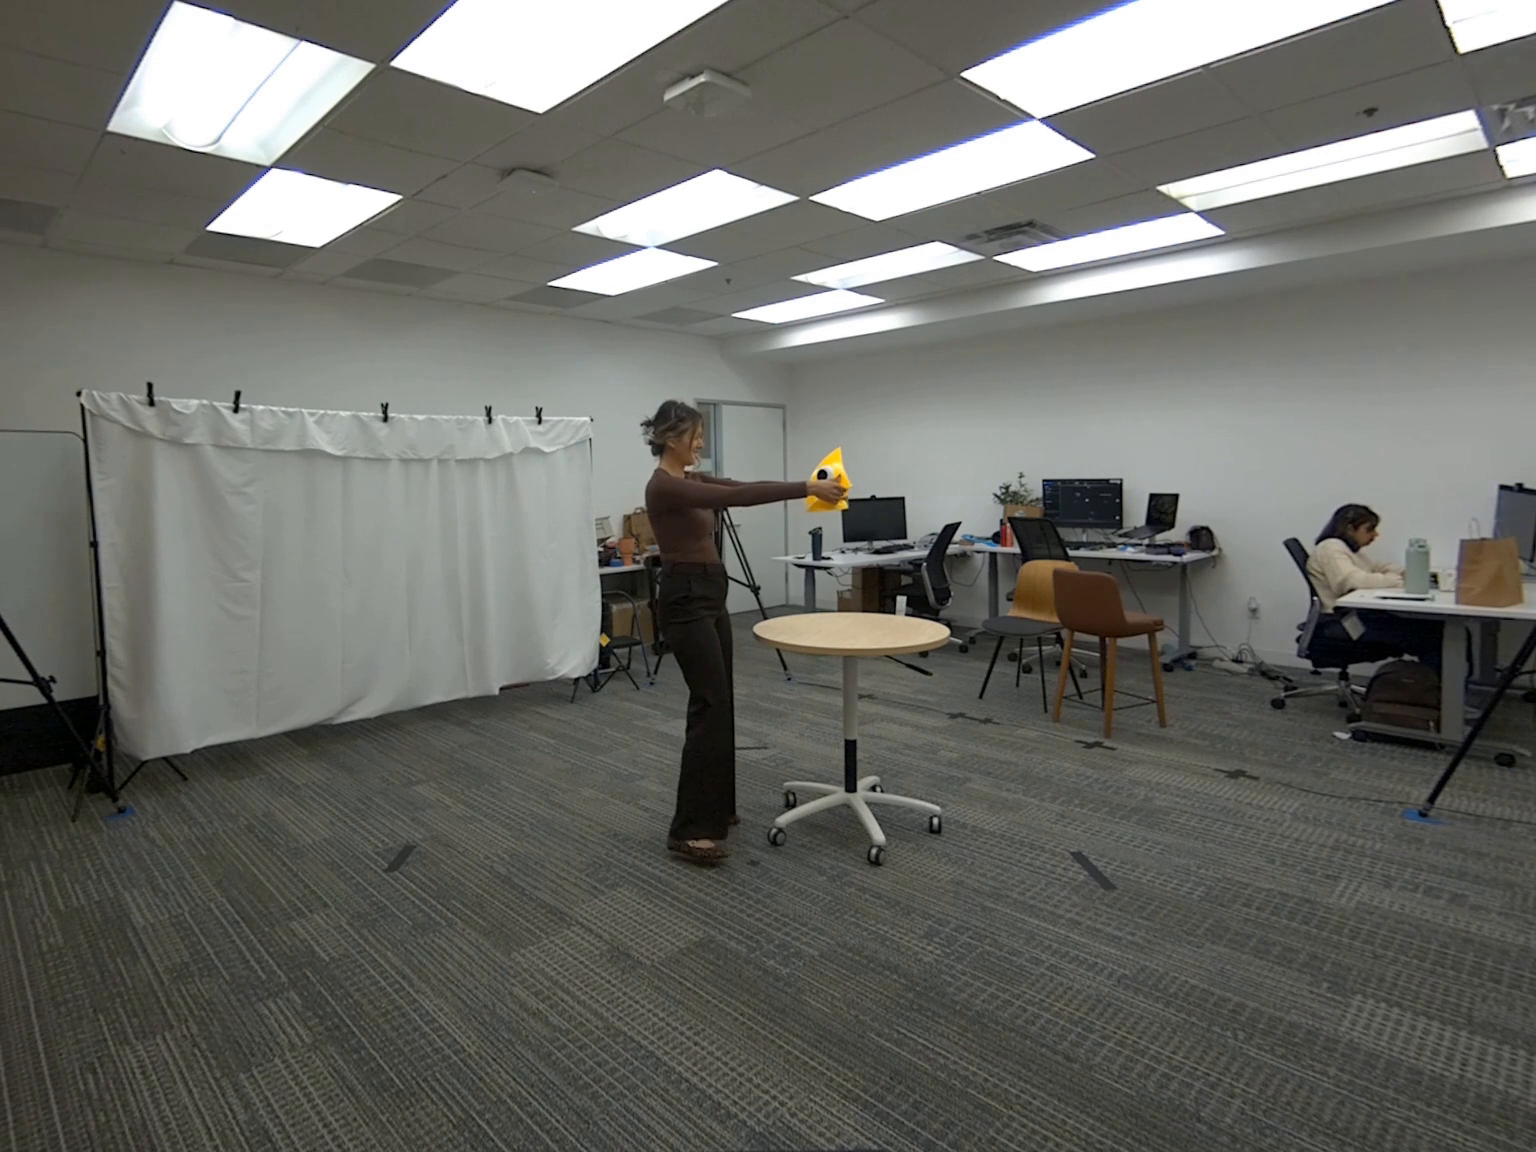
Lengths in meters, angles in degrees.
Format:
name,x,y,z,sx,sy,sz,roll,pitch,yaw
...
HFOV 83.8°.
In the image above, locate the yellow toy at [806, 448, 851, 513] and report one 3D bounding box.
name,x,y,z,sx,sy,sz,roll,pitch,yaw
yellow toy,0.225,-0.366,3.230,0.195,0.230,0.204,-4,3,8
